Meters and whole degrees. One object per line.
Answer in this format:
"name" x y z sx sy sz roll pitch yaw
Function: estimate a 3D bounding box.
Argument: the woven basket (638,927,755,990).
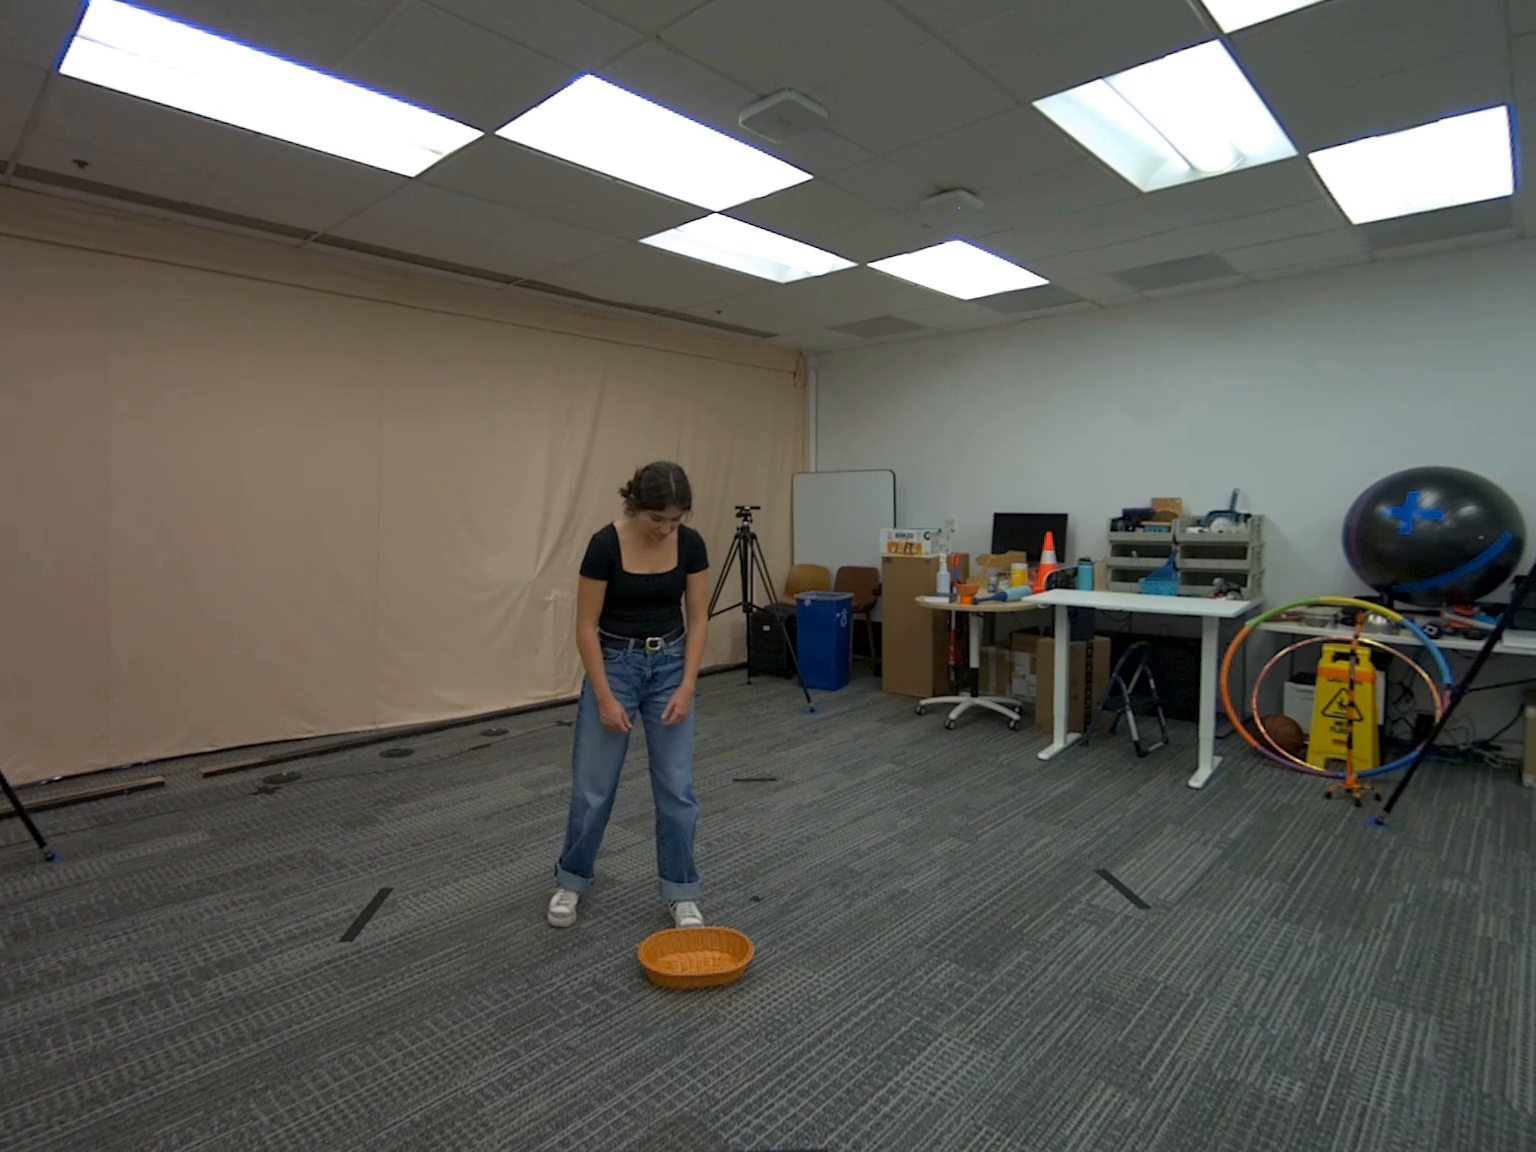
"woven basket" -0.209 1.148 2.510 0.348 0.073 0.255 0 6 -6
